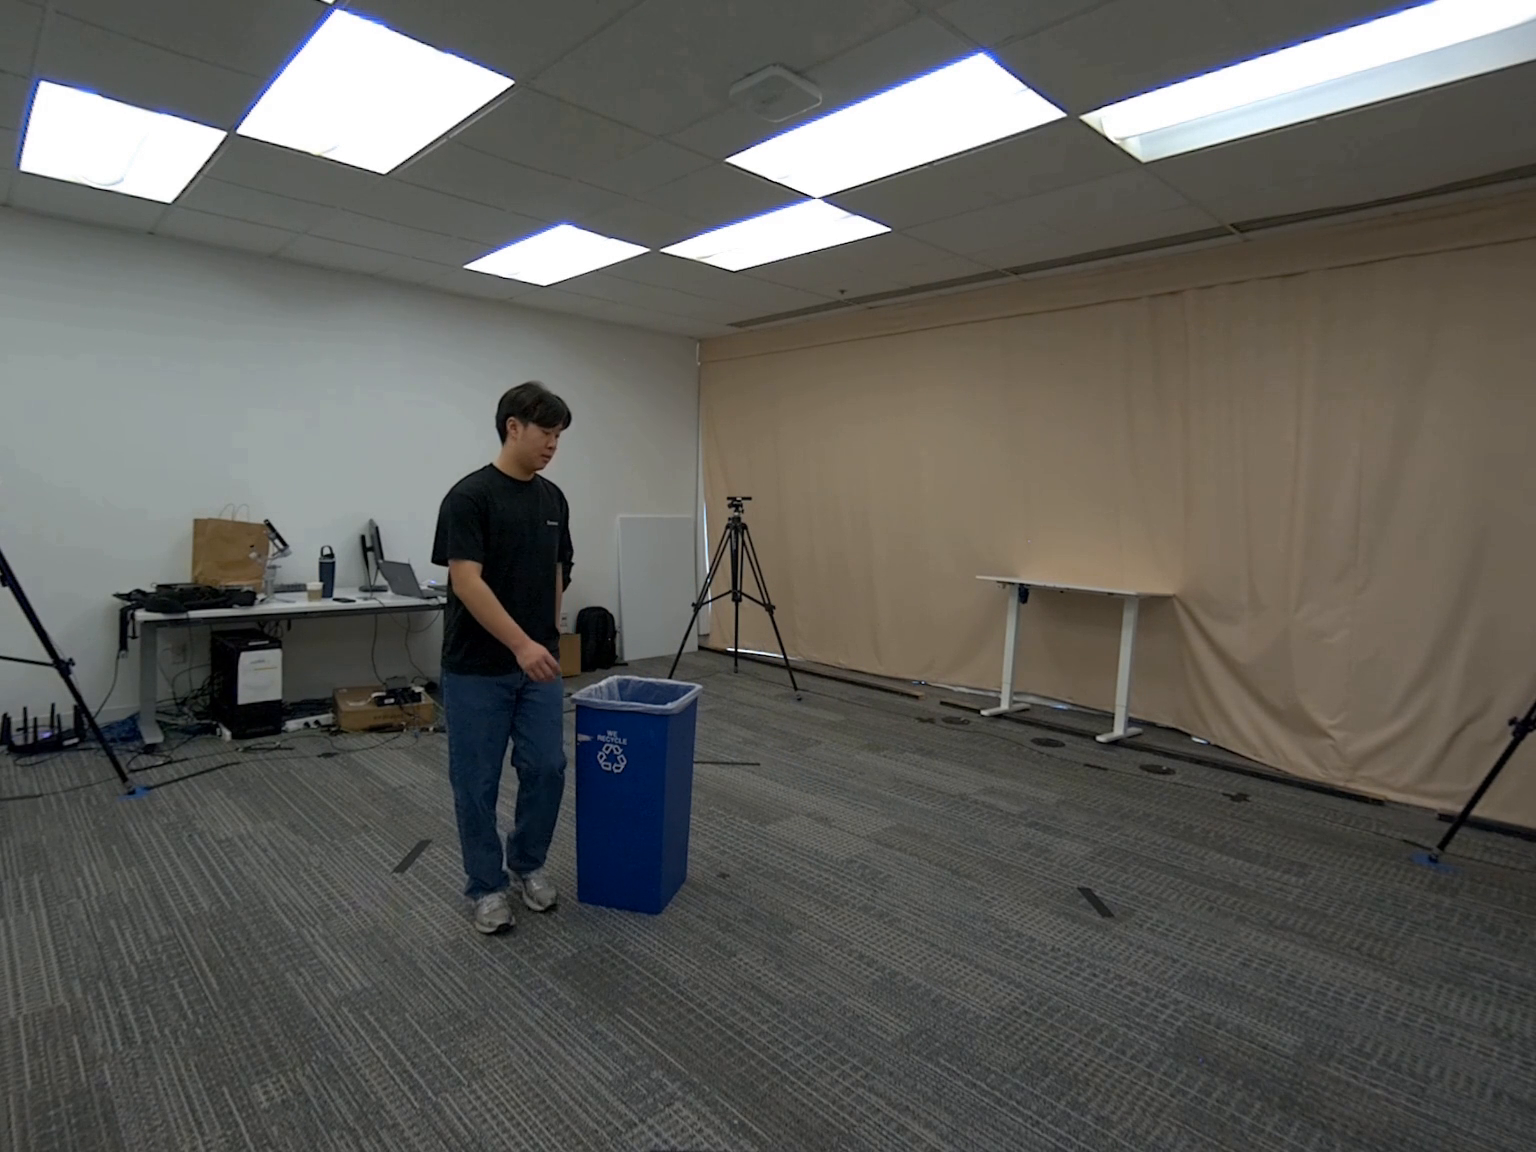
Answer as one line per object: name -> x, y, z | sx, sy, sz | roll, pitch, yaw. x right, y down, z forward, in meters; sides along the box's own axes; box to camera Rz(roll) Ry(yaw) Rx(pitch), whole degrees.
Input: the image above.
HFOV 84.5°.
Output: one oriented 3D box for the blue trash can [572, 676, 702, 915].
blue trash can -> -0.470, 0.754, 2.959 | 0.379, 0.712, 0.374 | 4, 4, 14
